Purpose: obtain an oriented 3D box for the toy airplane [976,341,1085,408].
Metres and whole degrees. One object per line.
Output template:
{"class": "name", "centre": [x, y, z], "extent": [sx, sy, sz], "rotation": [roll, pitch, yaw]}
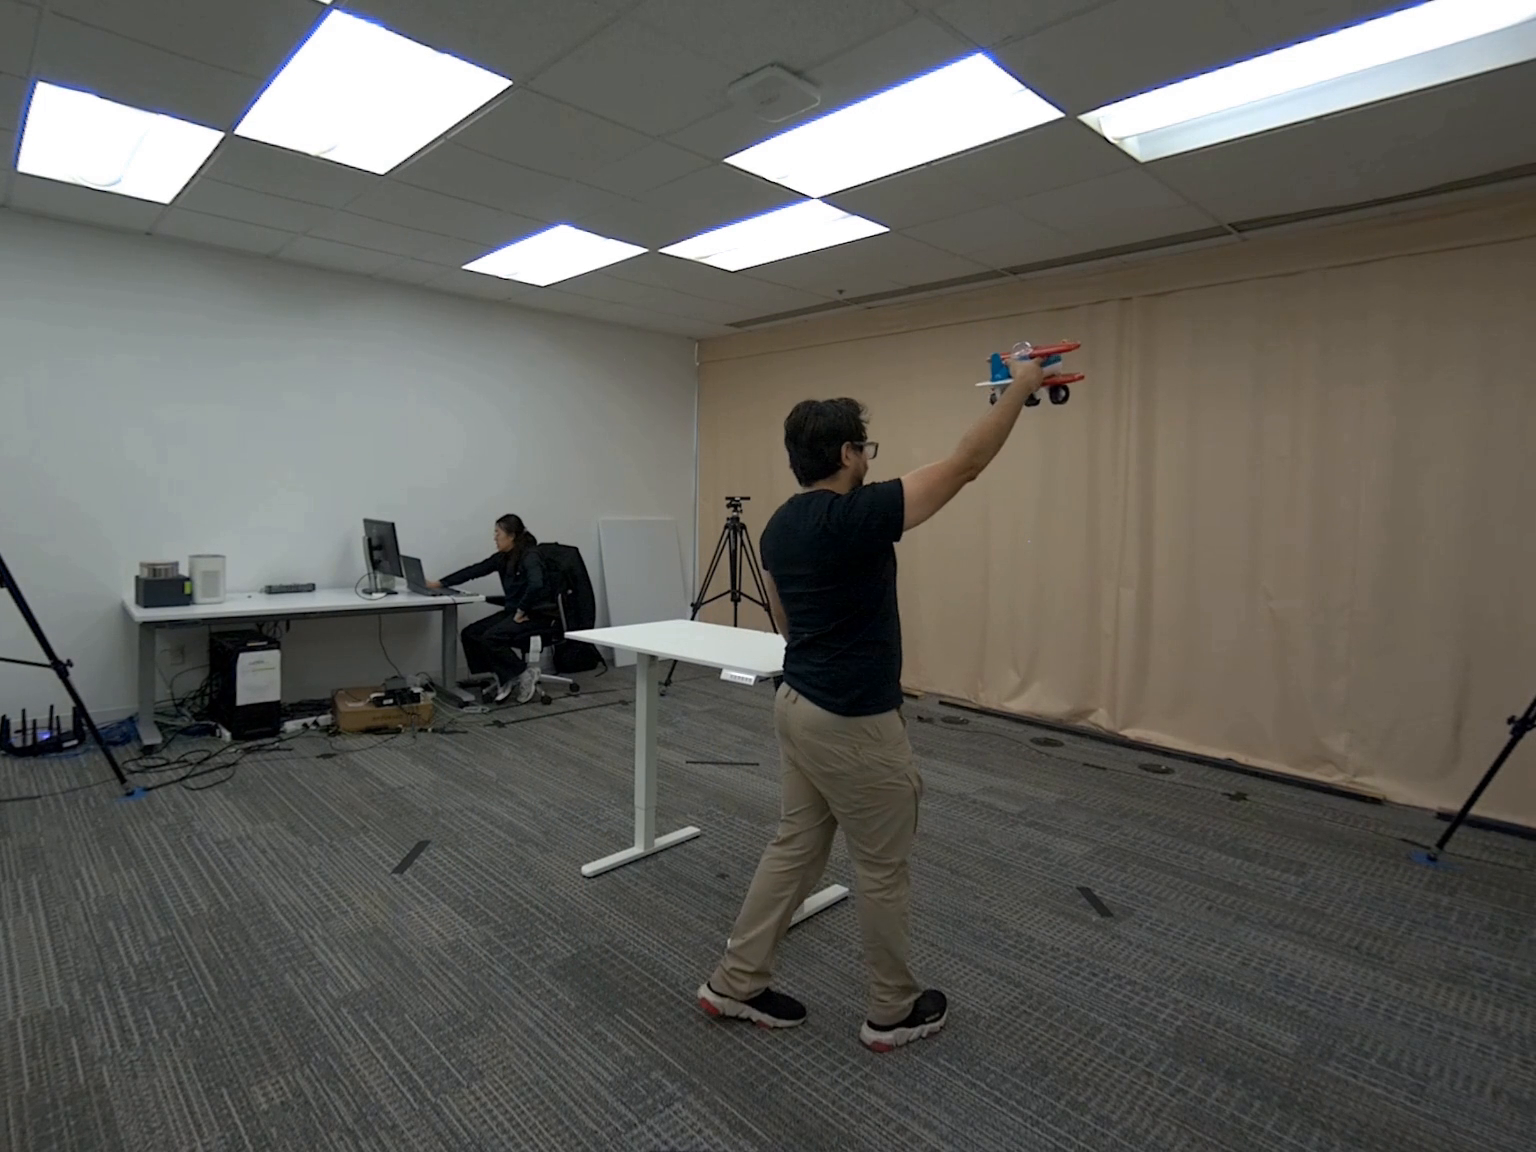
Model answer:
{"class": "toy airplane", "centre": [0.665, -0.517, 2.145], "extent": [0.256, 0.156, 0.255], "rotation": [0, 7, 27]}
